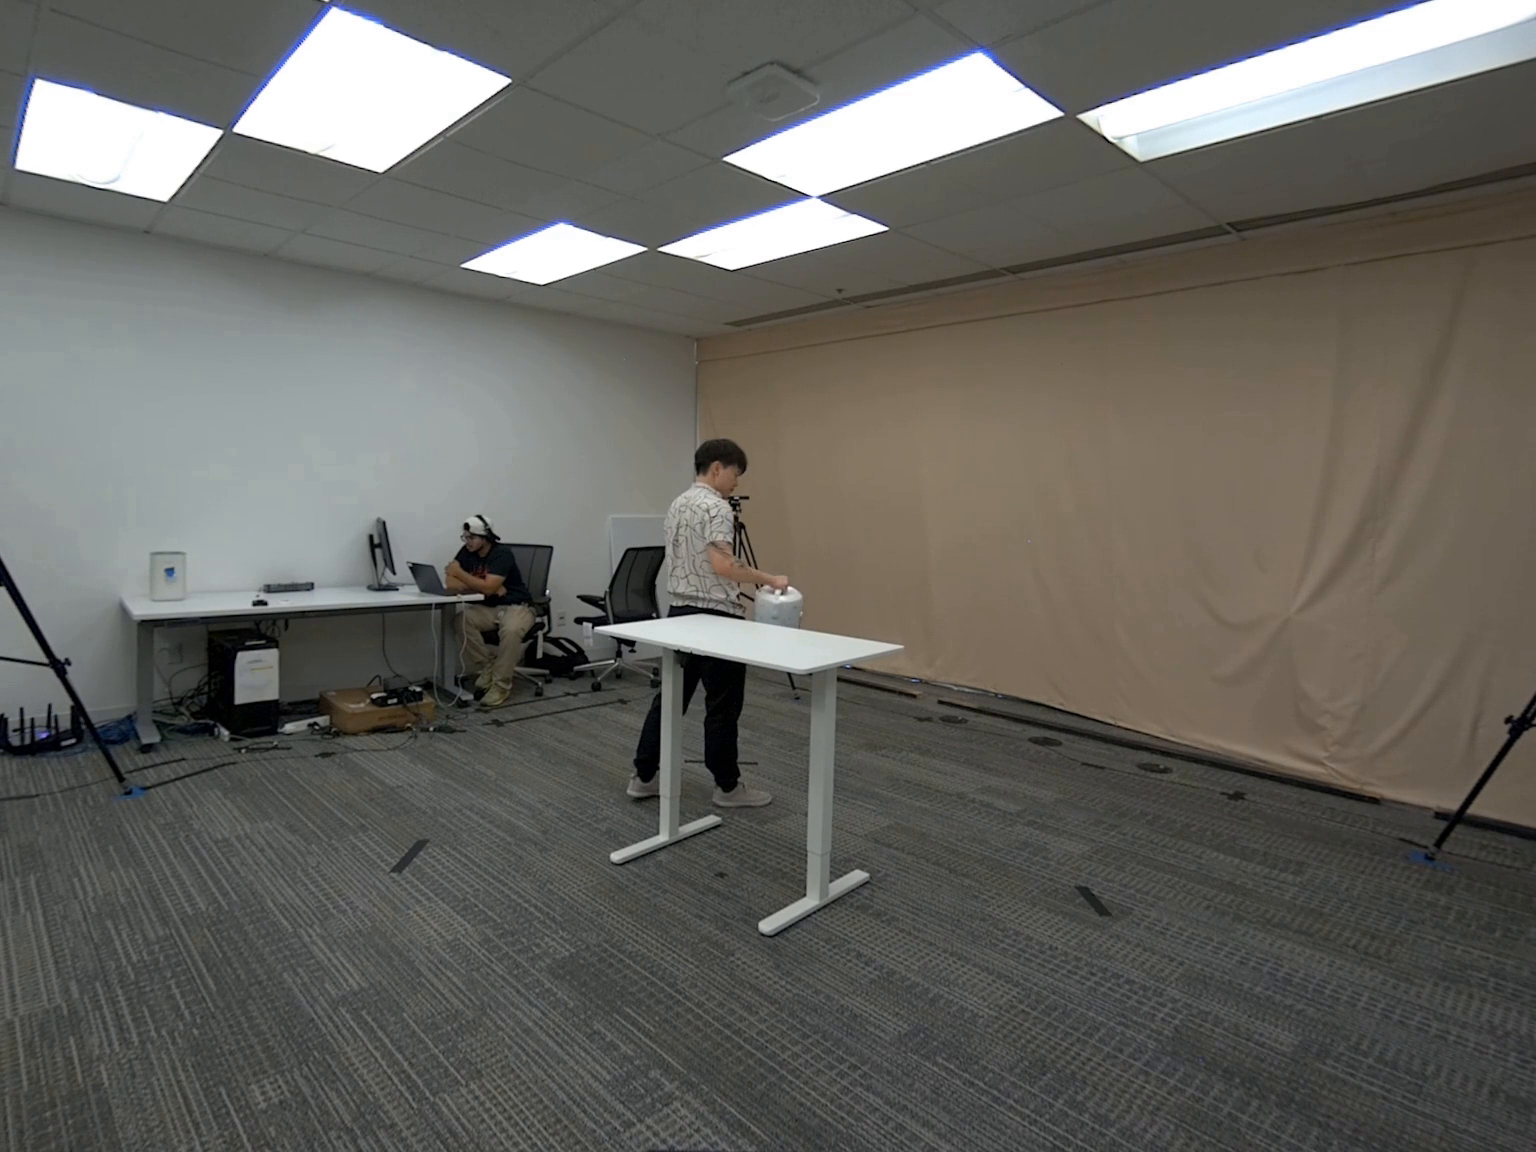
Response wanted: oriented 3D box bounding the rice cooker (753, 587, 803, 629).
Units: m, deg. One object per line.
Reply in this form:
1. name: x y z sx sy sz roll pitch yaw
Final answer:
1. rice cooker: 0.032 0.149 3.721 0.219 0.230 0.221 6 15 10
